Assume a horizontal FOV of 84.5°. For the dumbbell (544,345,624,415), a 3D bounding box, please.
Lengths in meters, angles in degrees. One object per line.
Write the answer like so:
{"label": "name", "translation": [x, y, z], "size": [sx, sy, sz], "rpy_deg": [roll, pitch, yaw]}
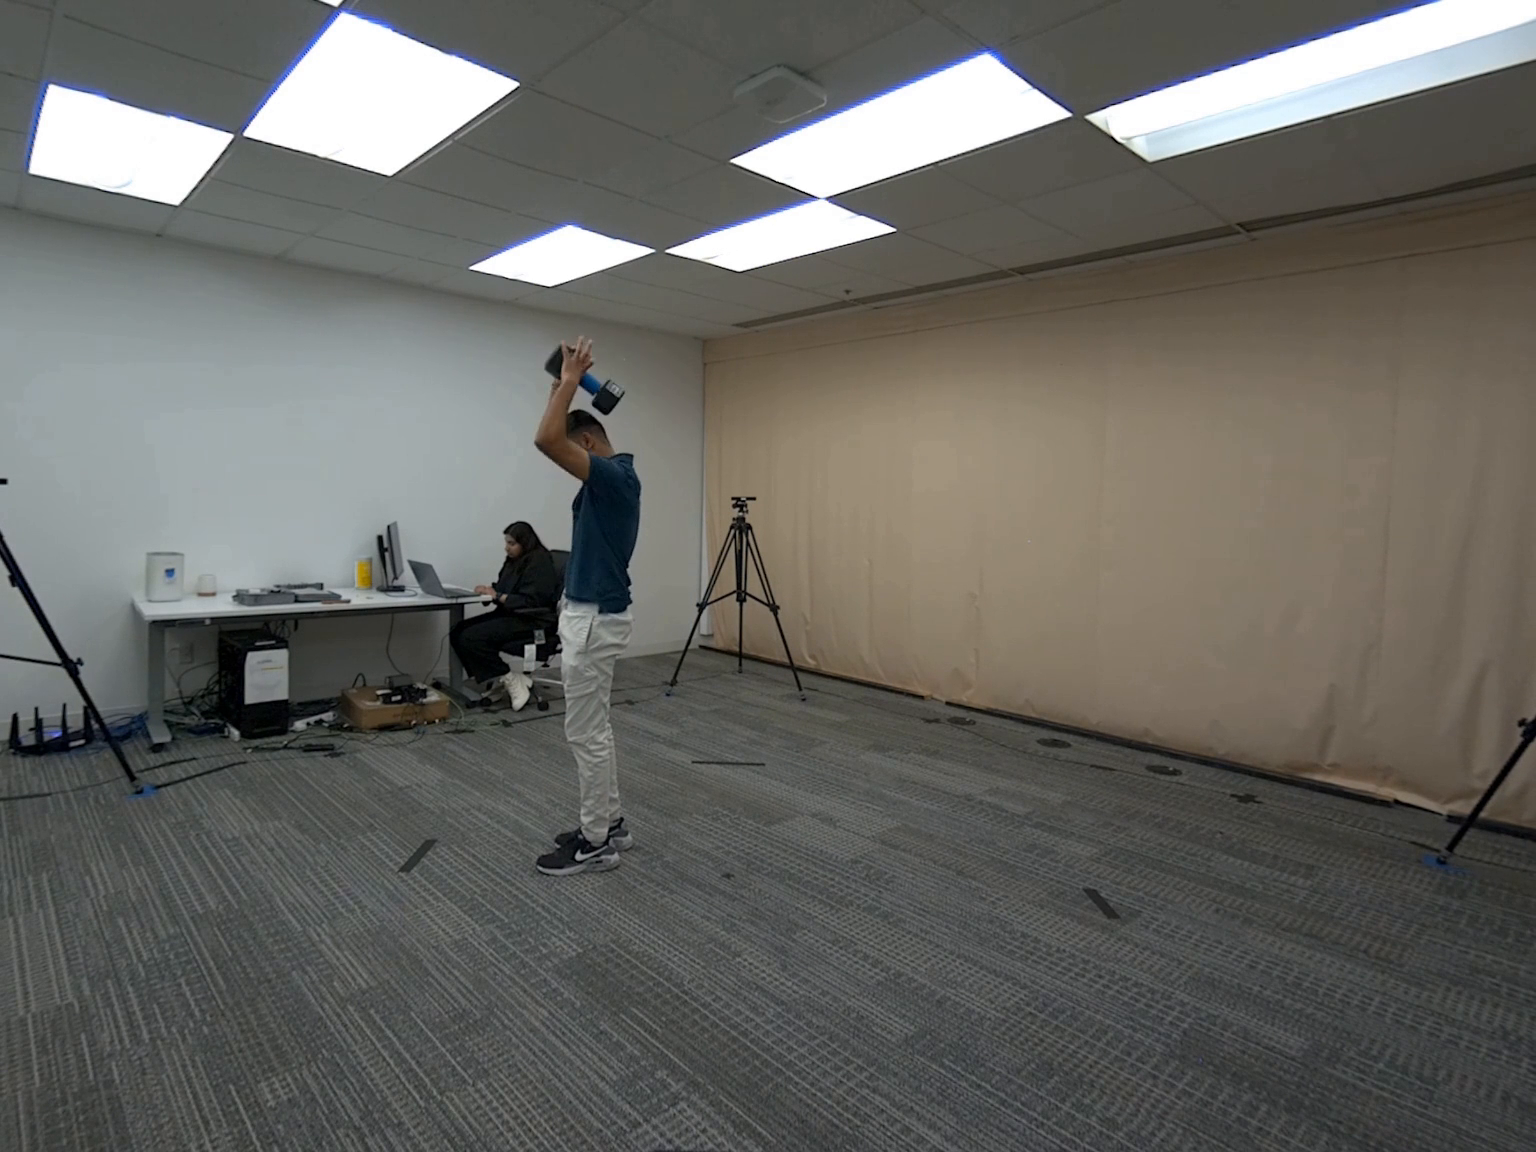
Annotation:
{"label": "dumbbell", "translation": [-0.693, -0.711, 3.107], "size": [0.290, 0.123, 0.110], "rpy_deg": [35, 11, -11]}
